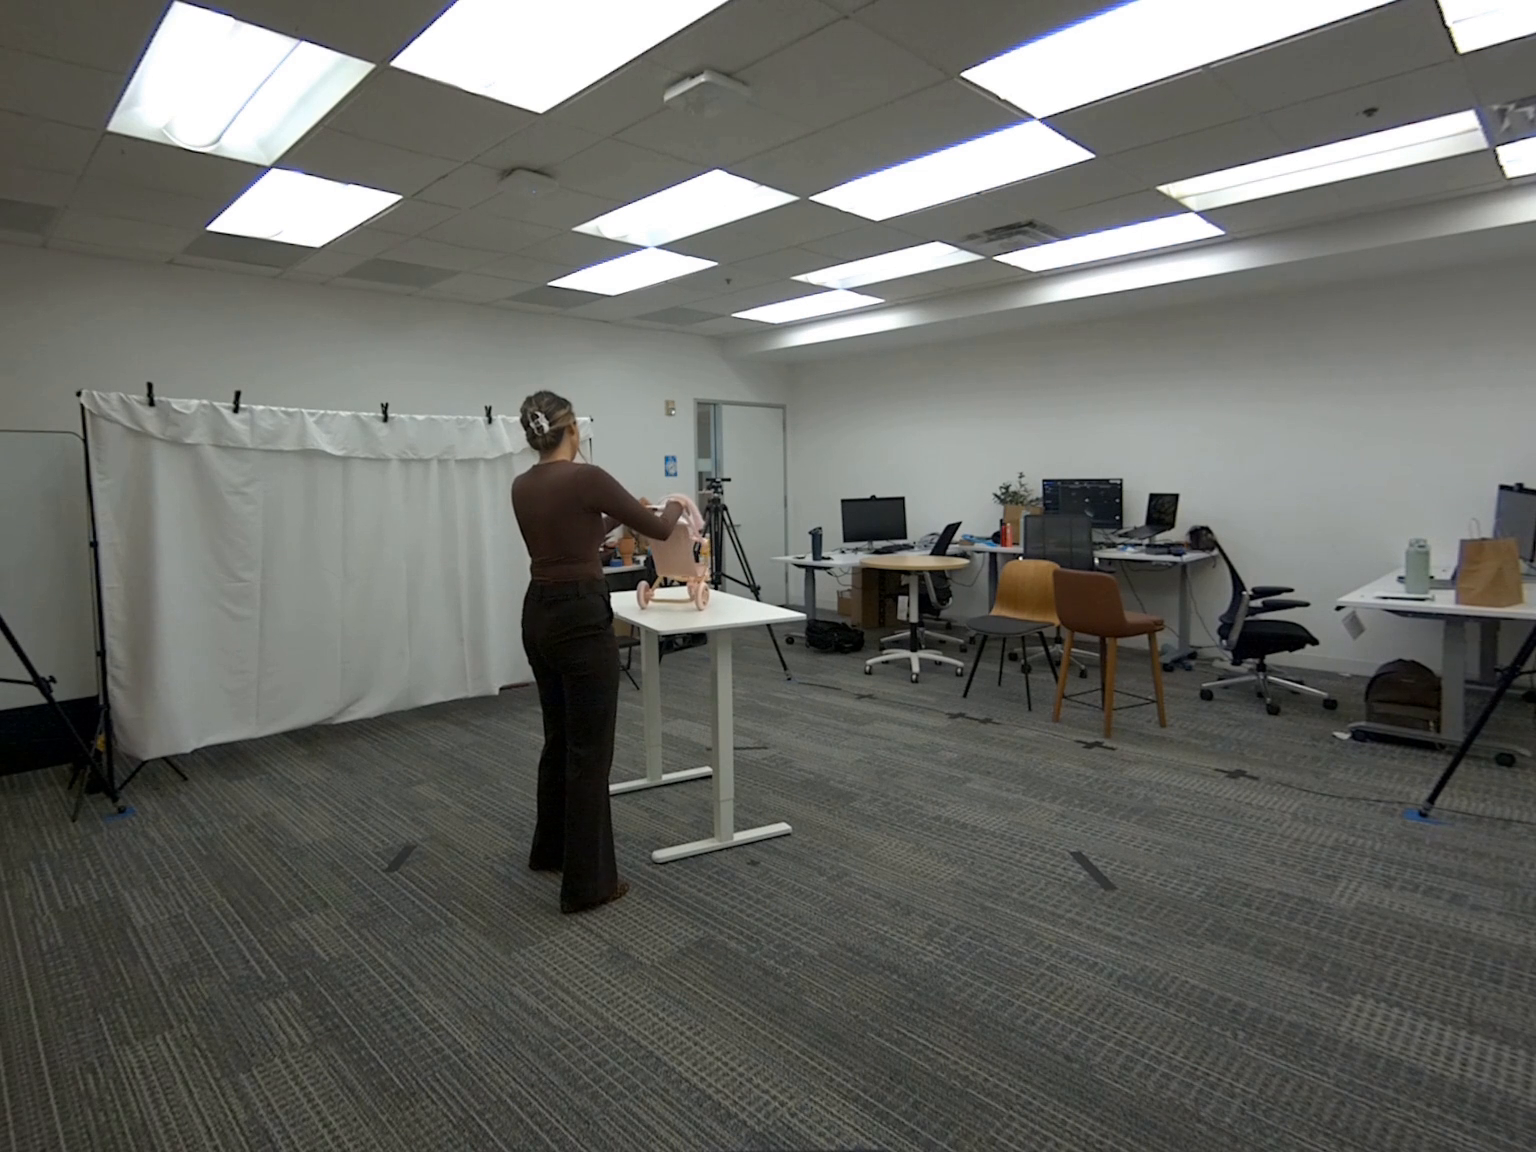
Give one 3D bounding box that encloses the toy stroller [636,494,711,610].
[{"bbox_3d":[-0.364,-0.091,3.452,0.287,0.525,0.341,2,20,19],"label":"toy stroller"}]
